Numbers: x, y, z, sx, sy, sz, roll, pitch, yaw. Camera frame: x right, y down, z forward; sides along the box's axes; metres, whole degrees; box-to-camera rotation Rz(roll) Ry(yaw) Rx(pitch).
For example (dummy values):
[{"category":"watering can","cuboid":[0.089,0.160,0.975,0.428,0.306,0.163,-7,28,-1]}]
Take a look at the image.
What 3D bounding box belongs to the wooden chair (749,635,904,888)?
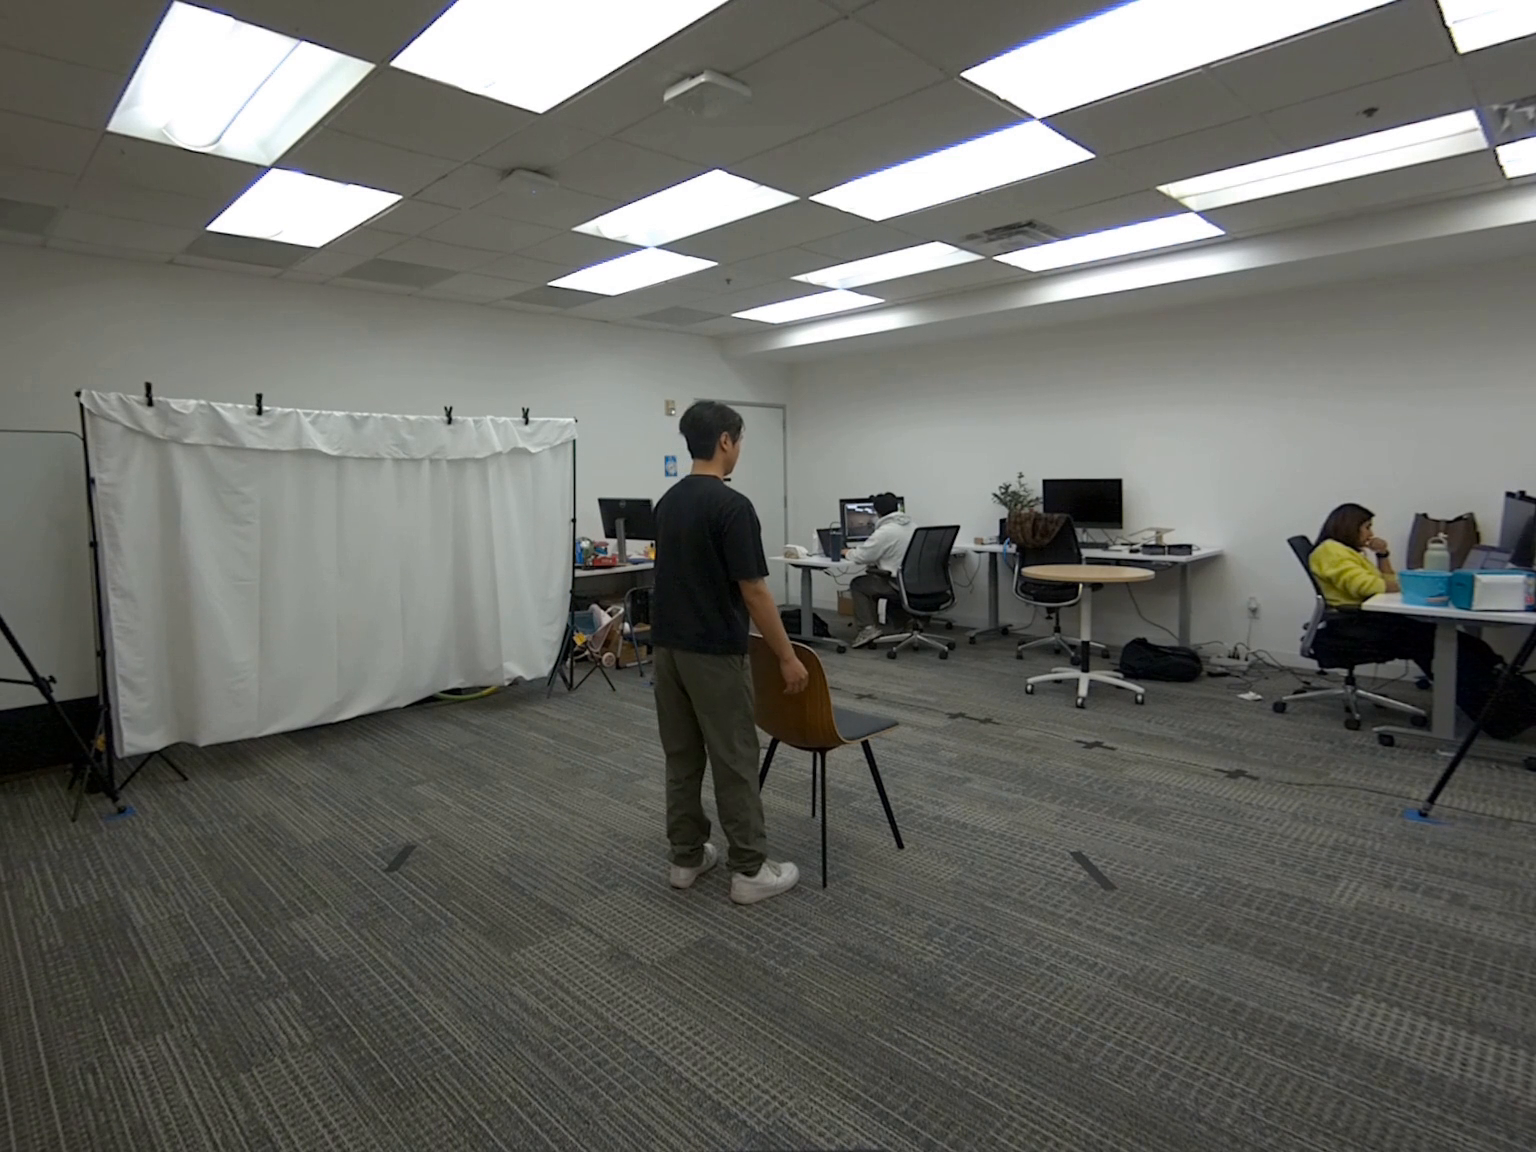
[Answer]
[{"category":"wooden chair","cuboid":[0.192,0.600,3.196,0.511,0.872,0.493,-11,10,-43]}]
